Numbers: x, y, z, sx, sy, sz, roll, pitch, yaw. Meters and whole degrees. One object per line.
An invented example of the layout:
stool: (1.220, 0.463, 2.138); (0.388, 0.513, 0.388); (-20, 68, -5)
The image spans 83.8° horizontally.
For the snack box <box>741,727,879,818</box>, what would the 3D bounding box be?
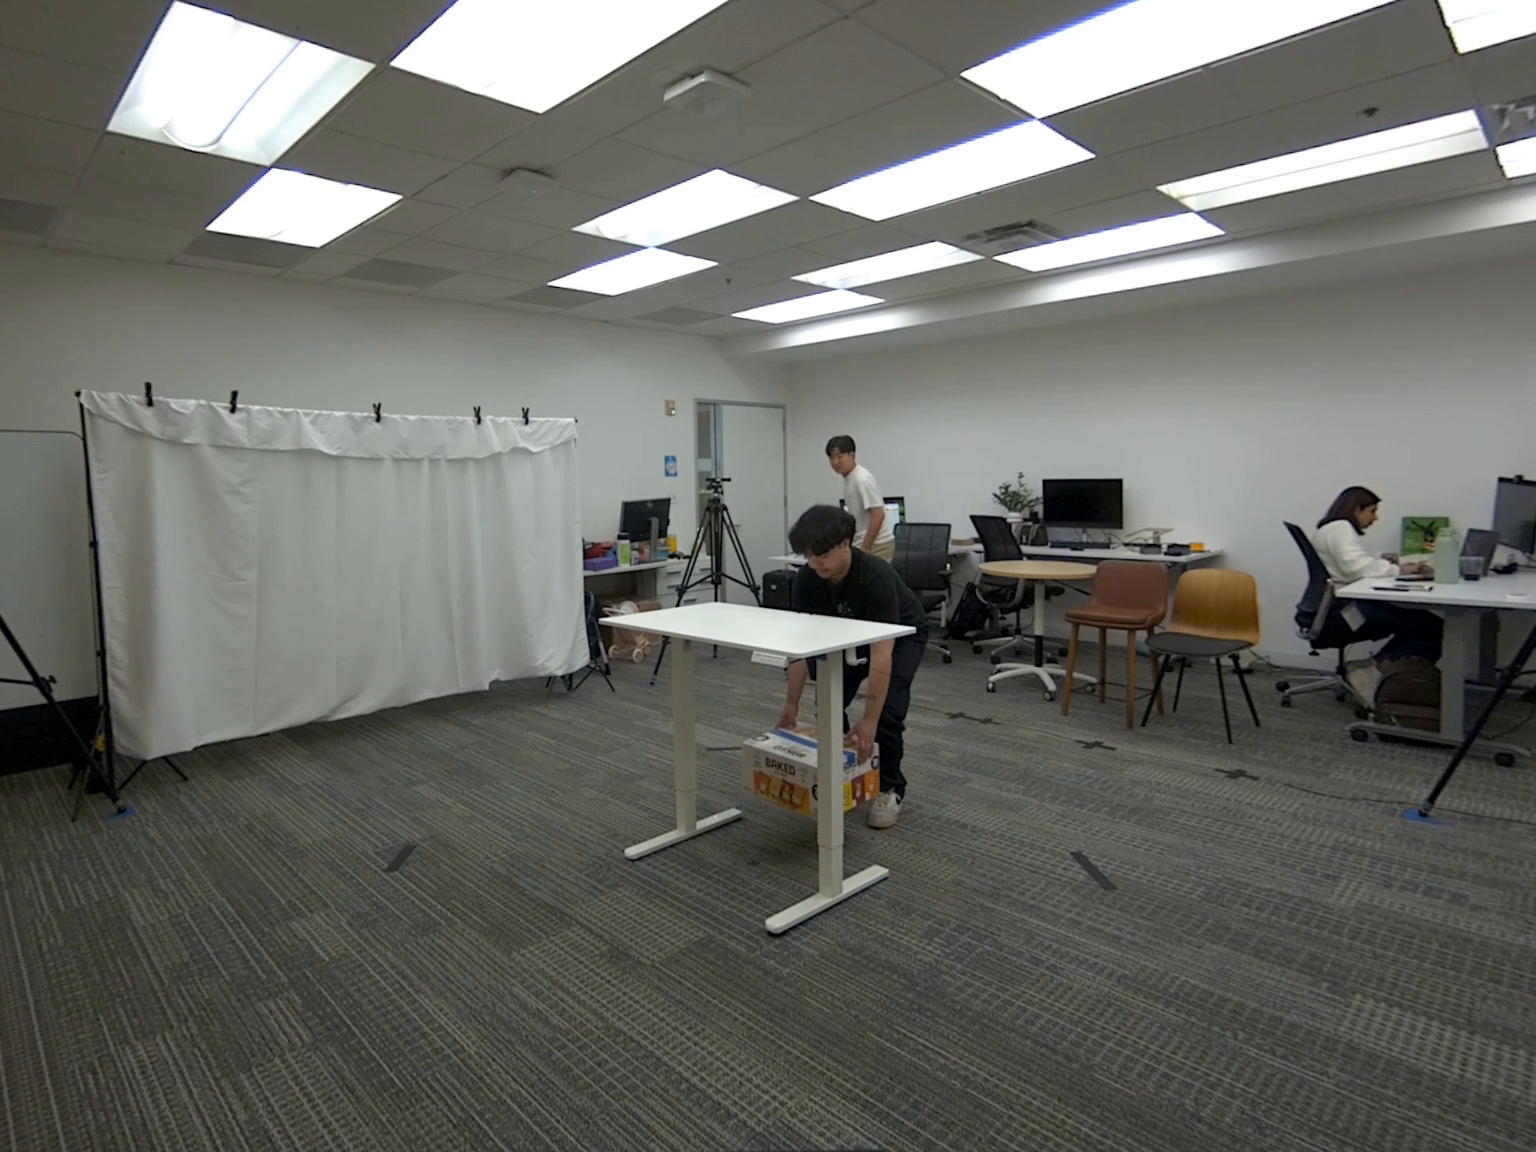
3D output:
snack box: (0.162, 0.744, 3.303); (0.418, 0.204, 0.332); (7, 11, 44)
